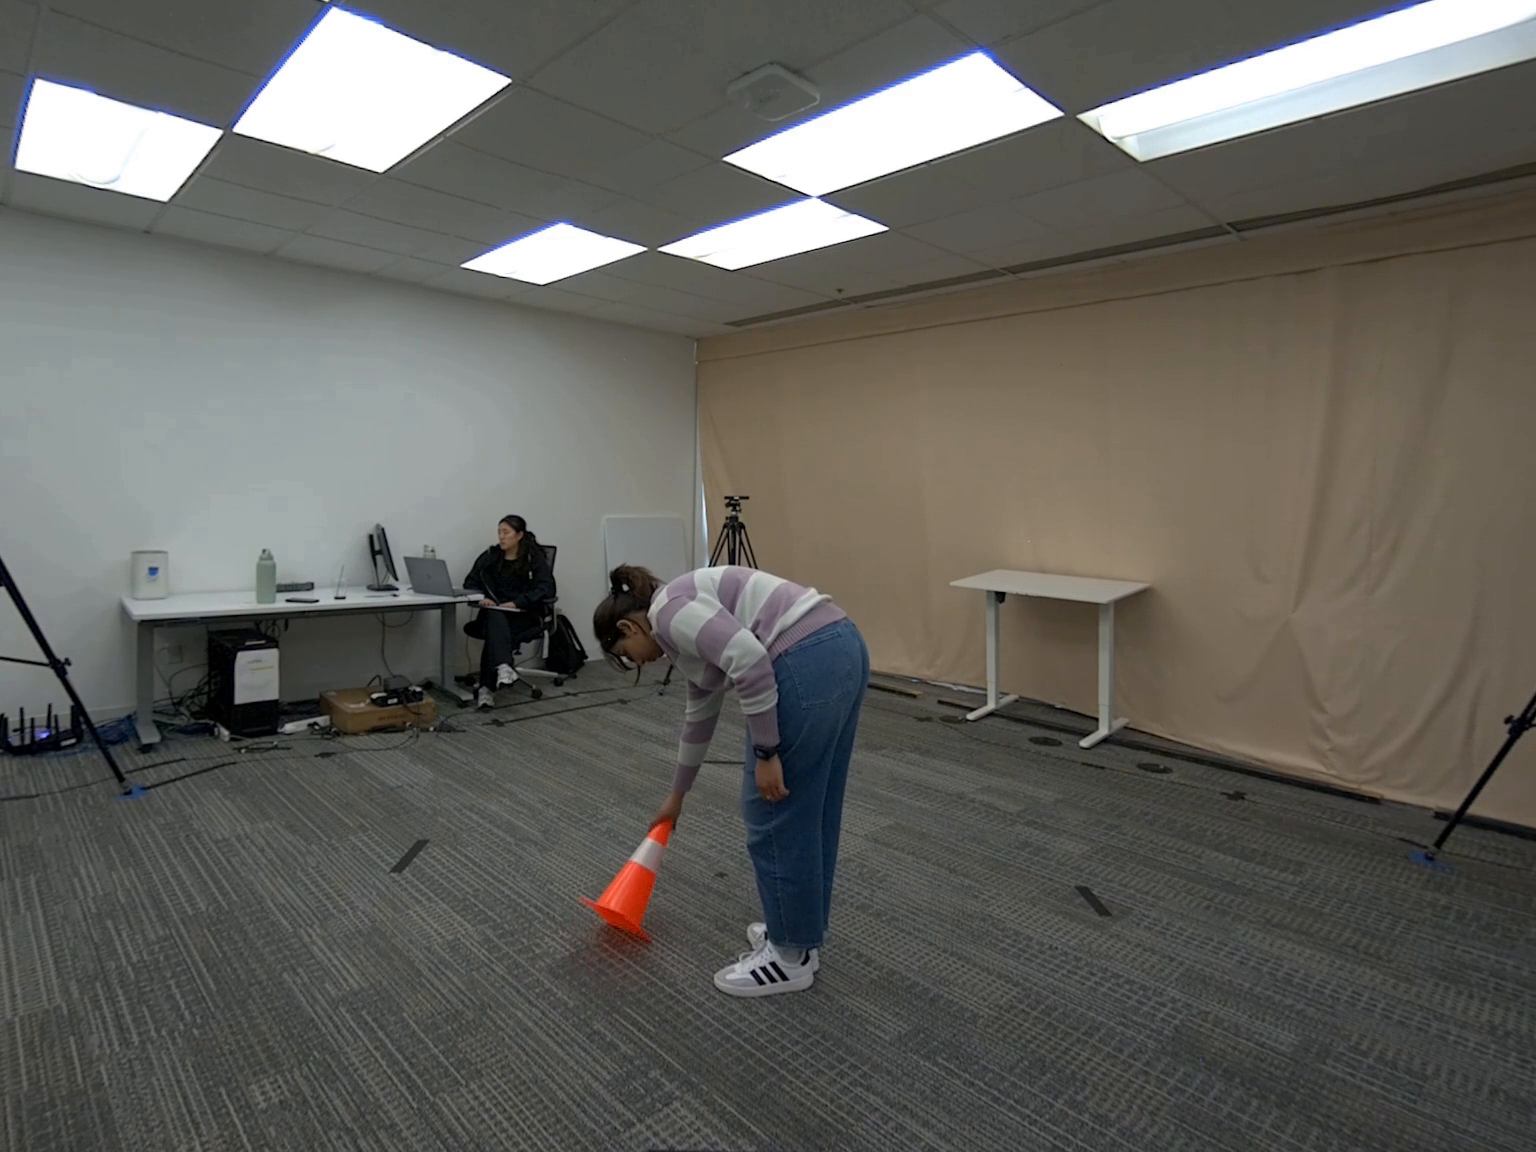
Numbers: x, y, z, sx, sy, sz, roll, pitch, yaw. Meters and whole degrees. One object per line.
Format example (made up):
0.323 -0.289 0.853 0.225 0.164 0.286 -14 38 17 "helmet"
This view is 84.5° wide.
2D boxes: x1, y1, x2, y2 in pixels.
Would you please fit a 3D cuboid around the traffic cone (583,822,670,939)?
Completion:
-0.392 0.927 2.729 0.208 0.386 0.199 10 -38 27 "traffic cone"
